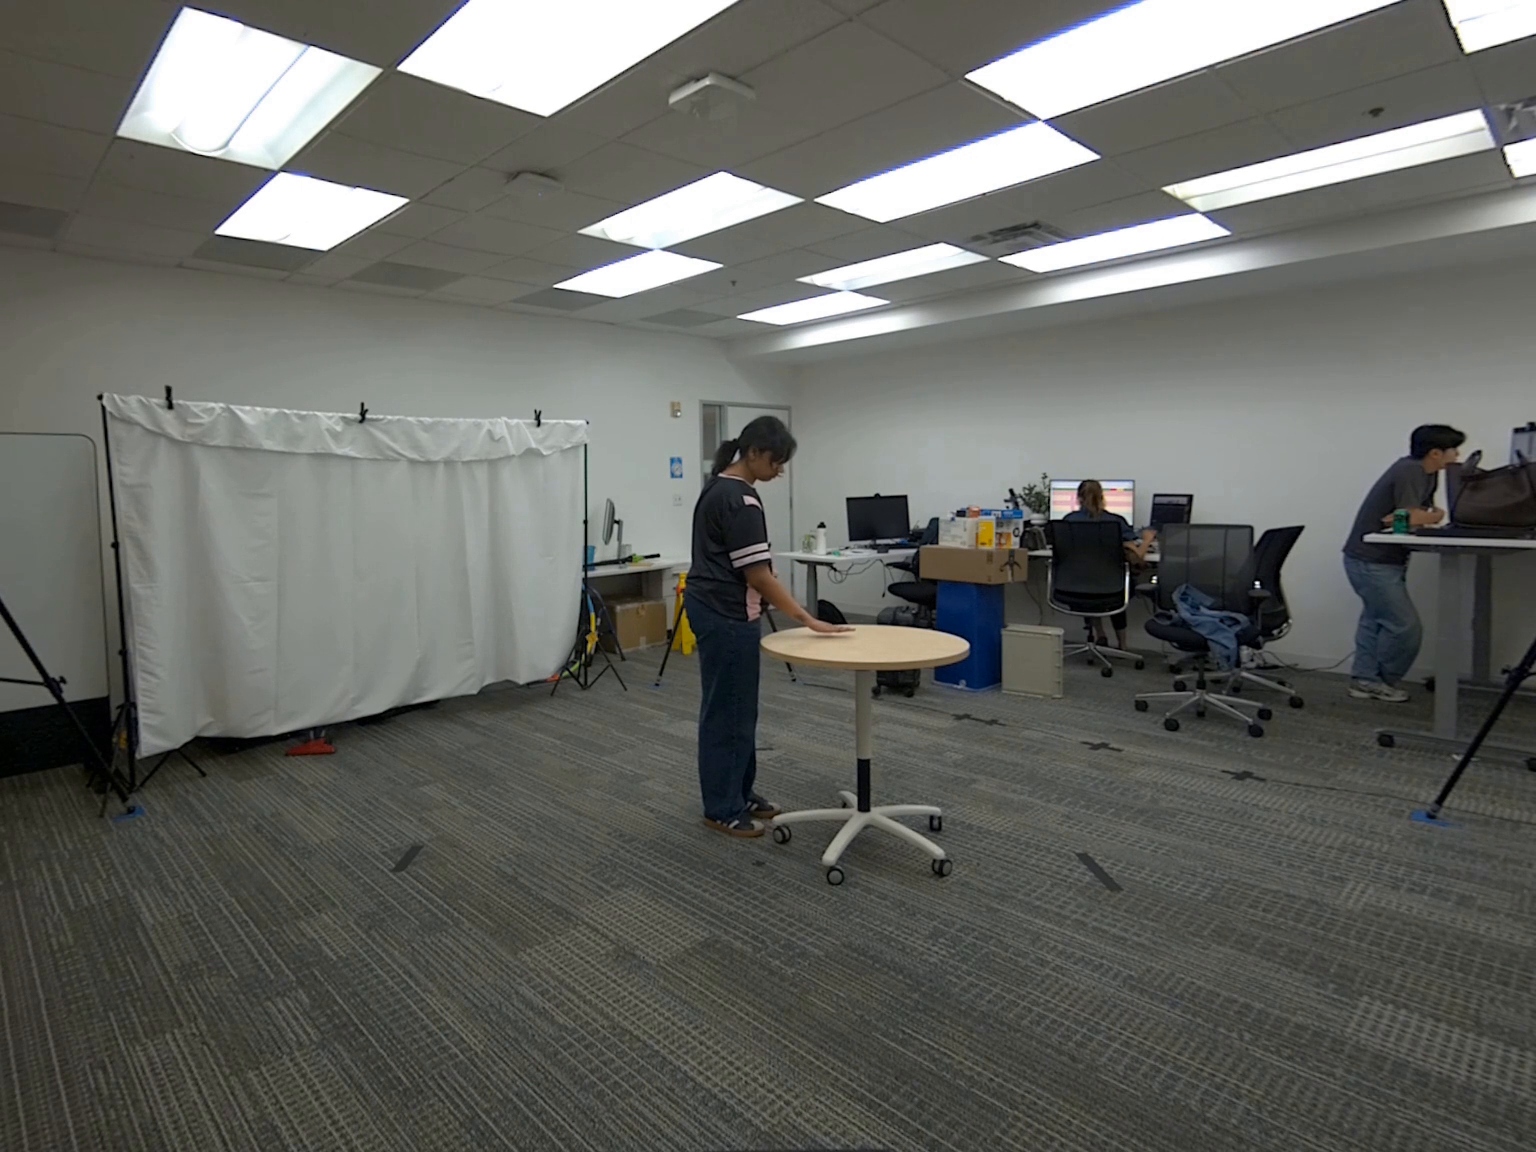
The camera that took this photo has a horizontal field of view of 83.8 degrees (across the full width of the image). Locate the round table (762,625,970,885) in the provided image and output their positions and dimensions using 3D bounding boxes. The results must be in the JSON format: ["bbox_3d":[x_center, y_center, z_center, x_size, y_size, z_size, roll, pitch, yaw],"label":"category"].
[{"bbox_3d":[0.370,0.634,3.223,0.784,0.783,0.789,-1,5,-2],"label":"round table"}]
